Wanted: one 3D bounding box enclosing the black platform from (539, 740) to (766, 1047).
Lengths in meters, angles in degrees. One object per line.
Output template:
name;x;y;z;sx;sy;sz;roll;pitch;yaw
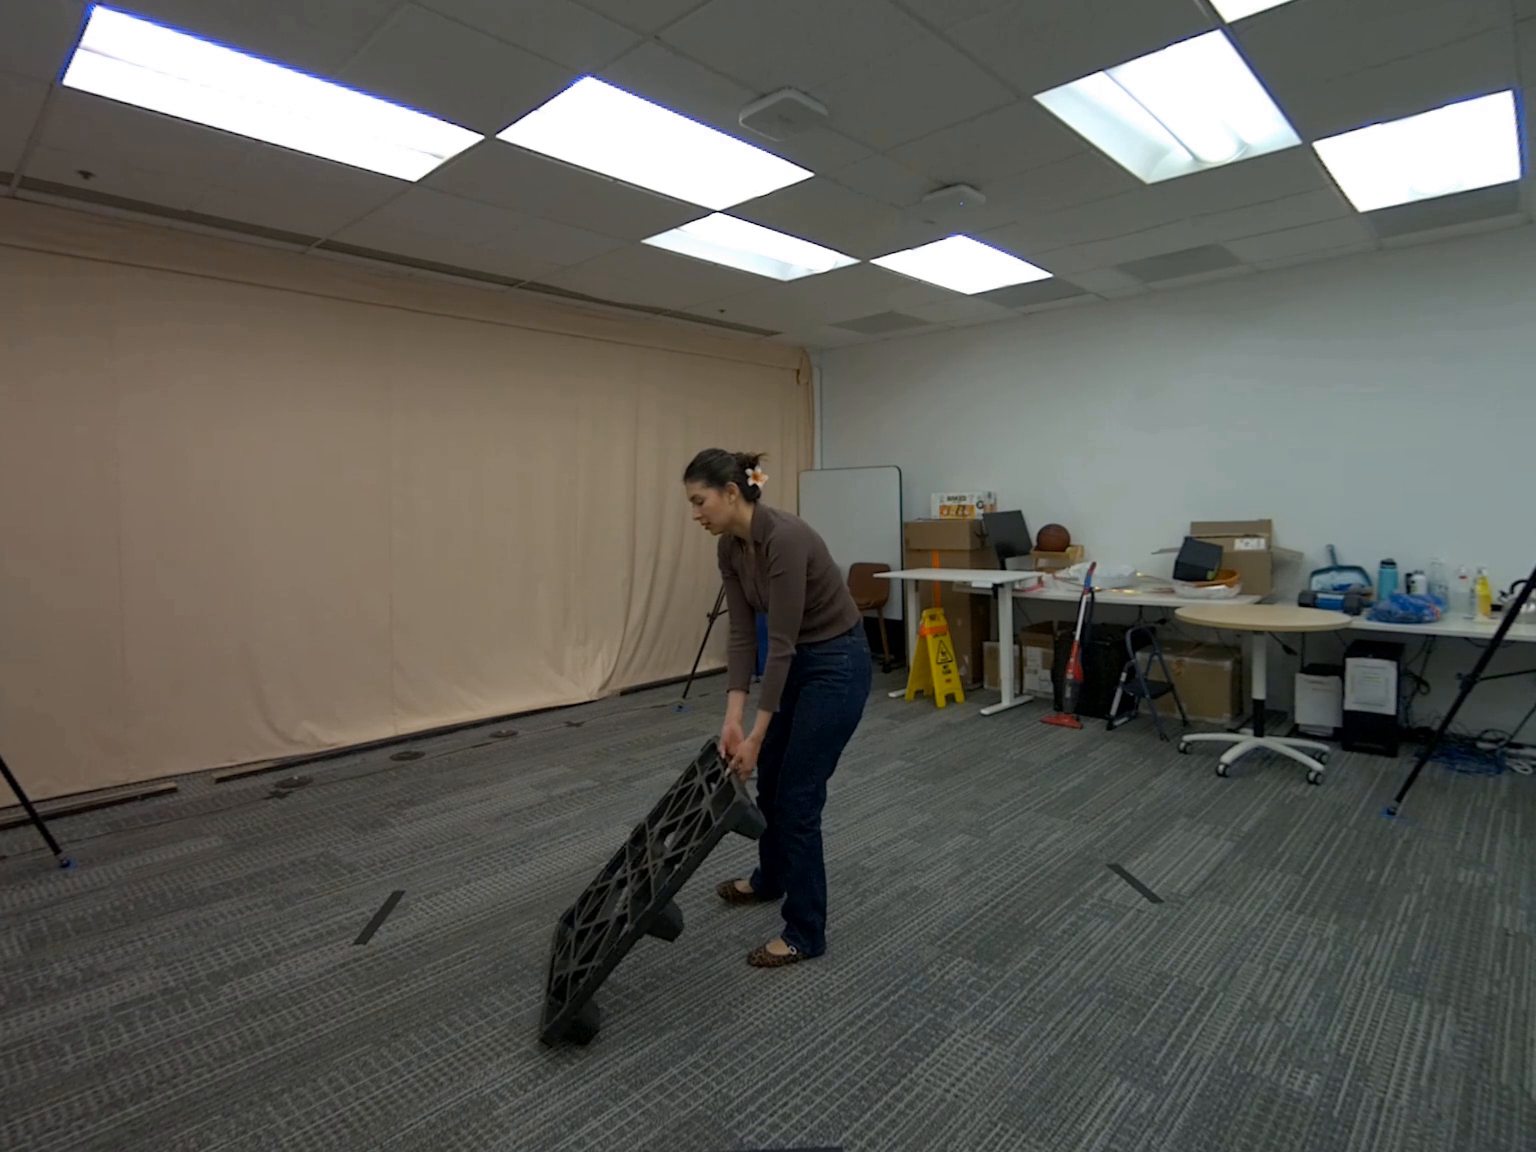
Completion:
black platform;-0.320;0.878;2.402;0.142;0.805;0.611;39;-1;-10
